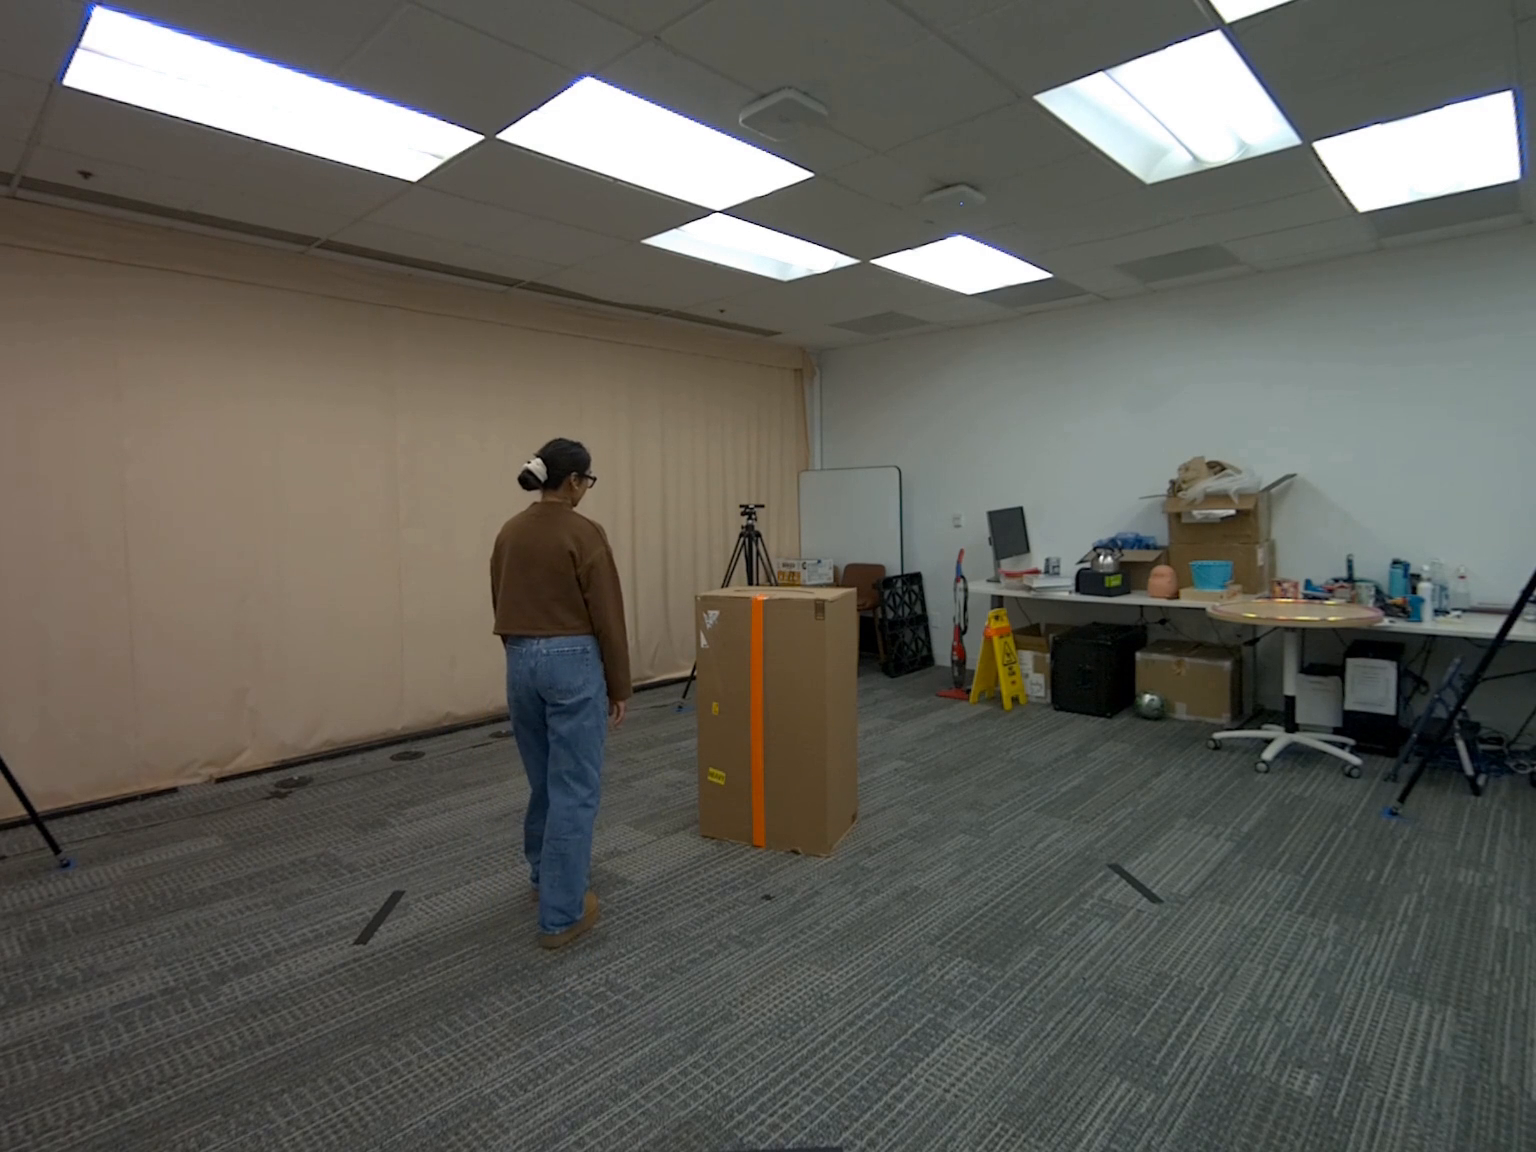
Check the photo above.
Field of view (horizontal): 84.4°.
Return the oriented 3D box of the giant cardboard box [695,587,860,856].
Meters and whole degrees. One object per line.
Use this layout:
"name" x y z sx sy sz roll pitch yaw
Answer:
"giant cardboard box" 0.049 0.574 3.593 0.592 1.024 0.416 1 3 25
